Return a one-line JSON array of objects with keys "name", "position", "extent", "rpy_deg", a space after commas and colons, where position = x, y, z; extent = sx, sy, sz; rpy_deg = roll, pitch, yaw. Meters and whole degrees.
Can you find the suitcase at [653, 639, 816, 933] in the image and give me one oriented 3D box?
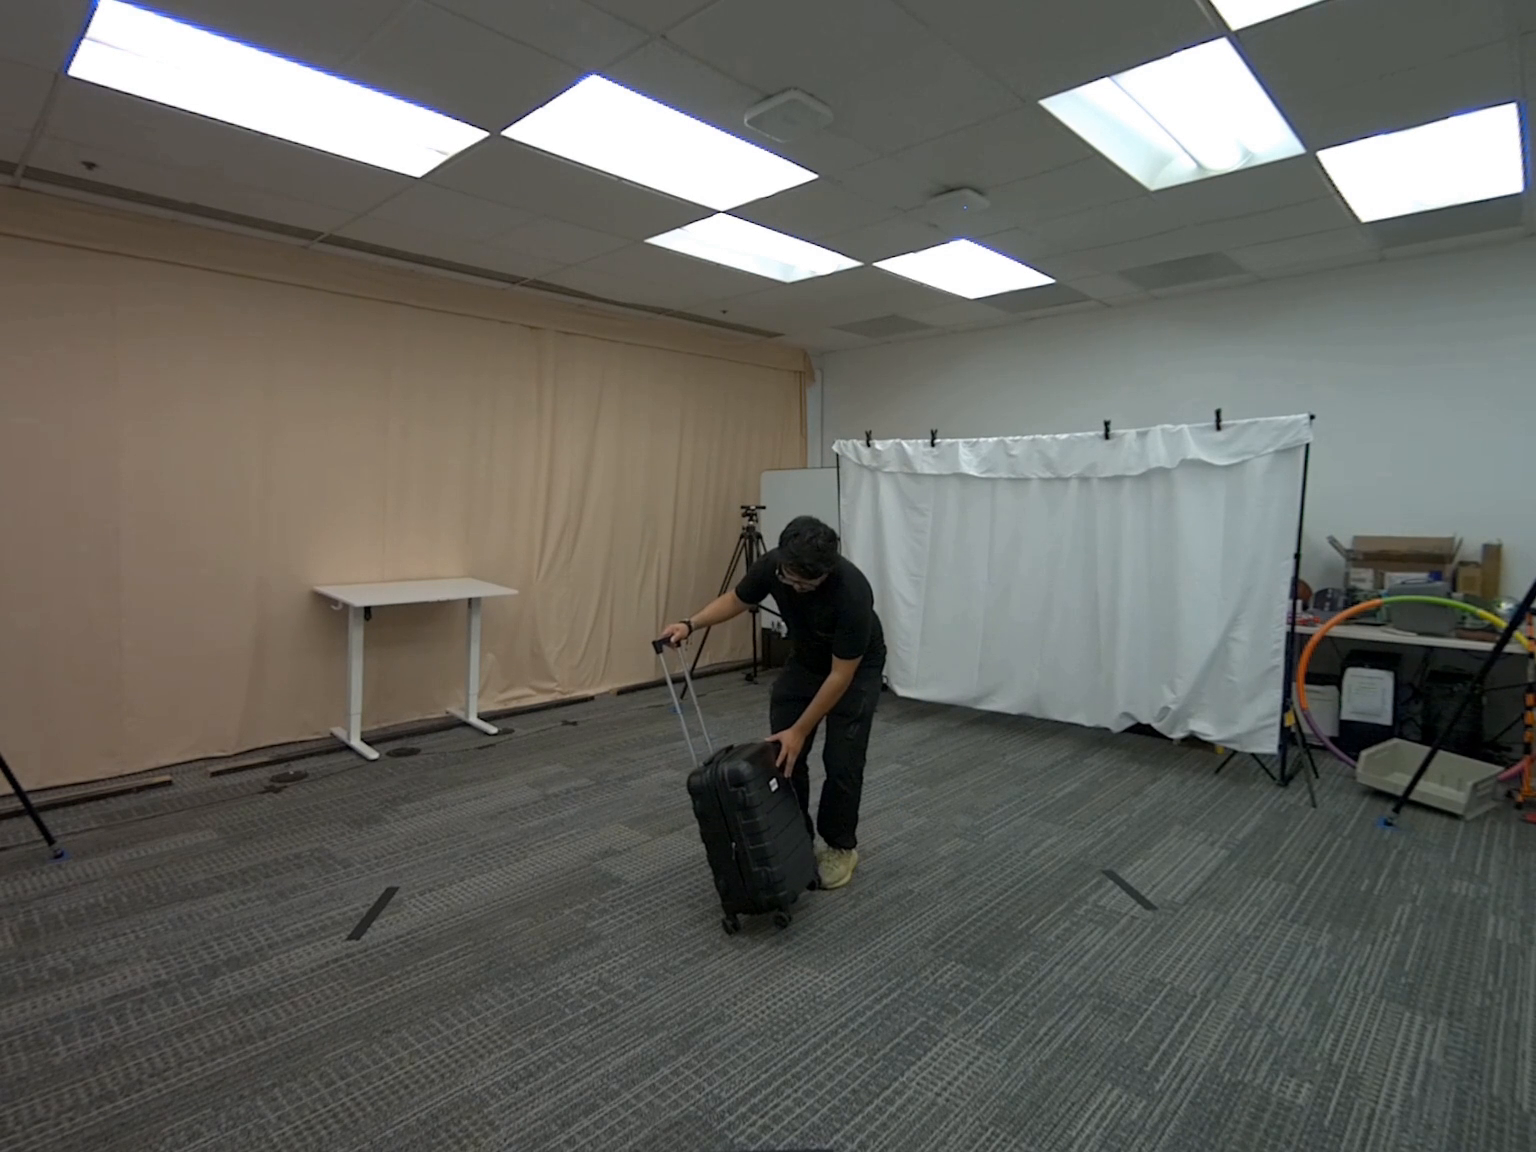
[{"name": "suitcase", "position": [-0.110, 0.660, 2.855], "extent": [0.262, 0.982, 0.375], "rpy_deg": [-19, -4, 23]}]
